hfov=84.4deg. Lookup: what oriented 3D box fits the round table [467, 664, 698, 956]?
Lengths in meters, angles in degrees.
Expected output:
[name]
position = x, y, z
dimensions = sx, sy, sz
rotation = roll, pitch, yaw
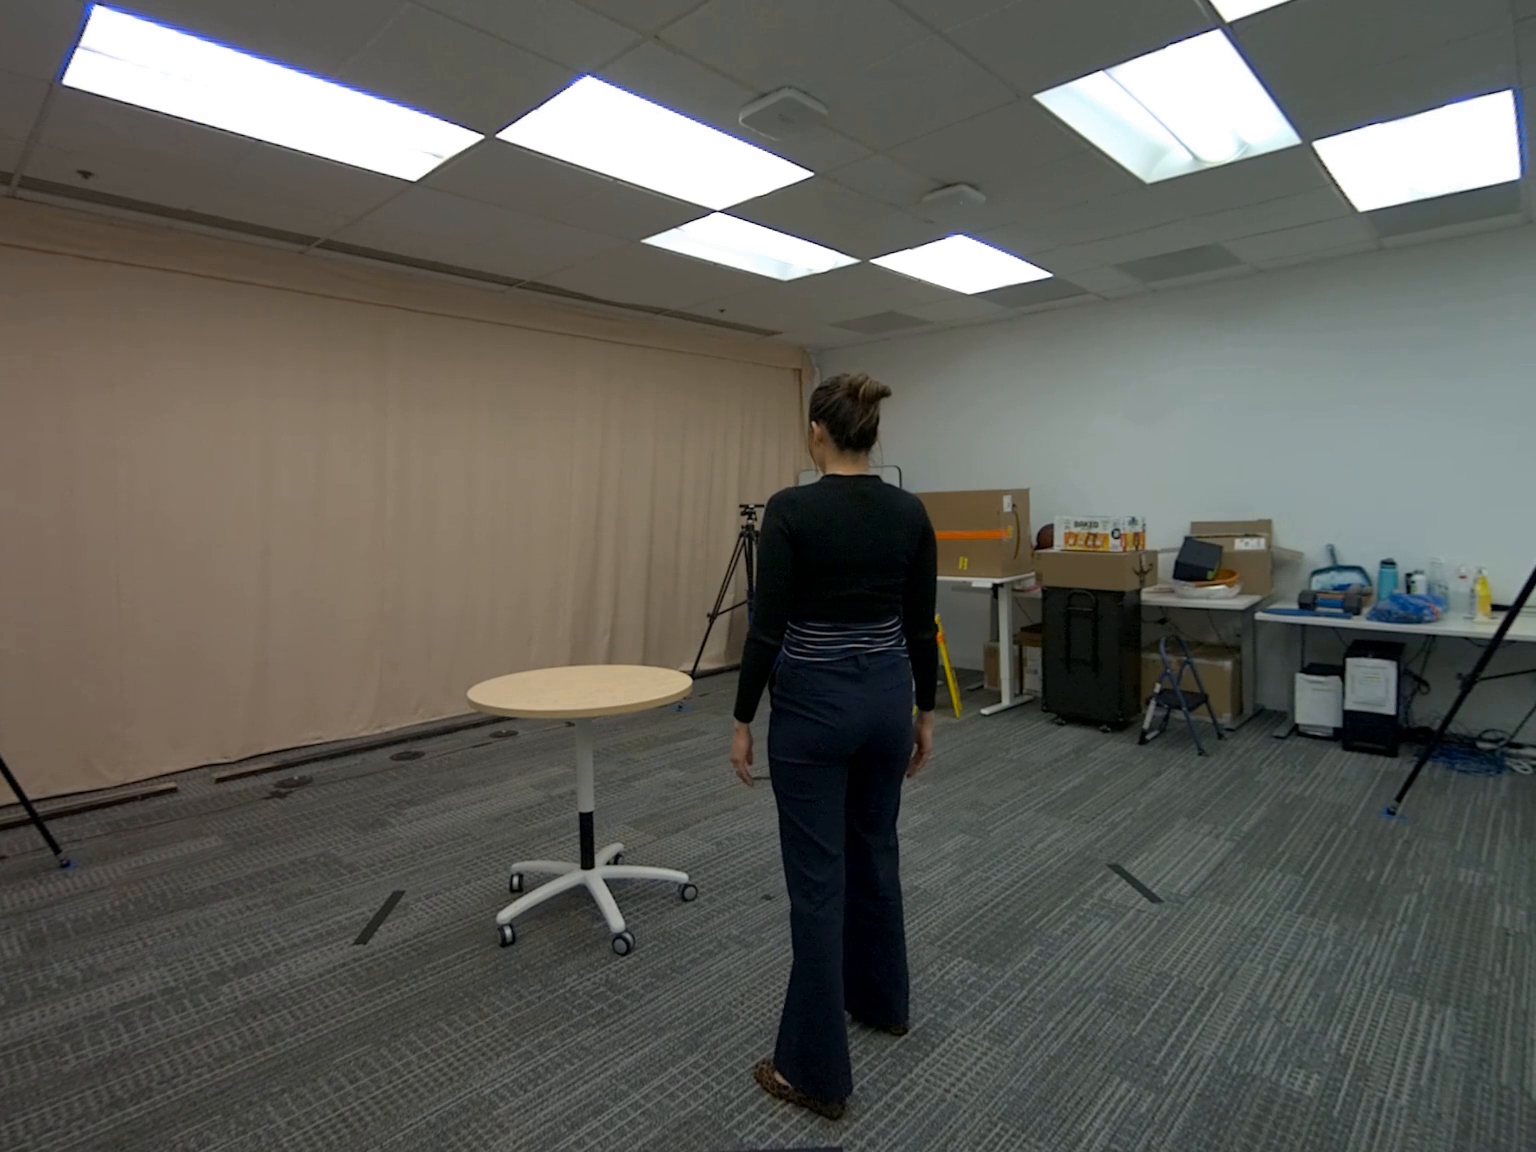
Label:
[round table]
position = -0.632, 0.771, 2.921
dimensions = 0.763, 0.793, 0.766
rotation = -2, 3, -2
